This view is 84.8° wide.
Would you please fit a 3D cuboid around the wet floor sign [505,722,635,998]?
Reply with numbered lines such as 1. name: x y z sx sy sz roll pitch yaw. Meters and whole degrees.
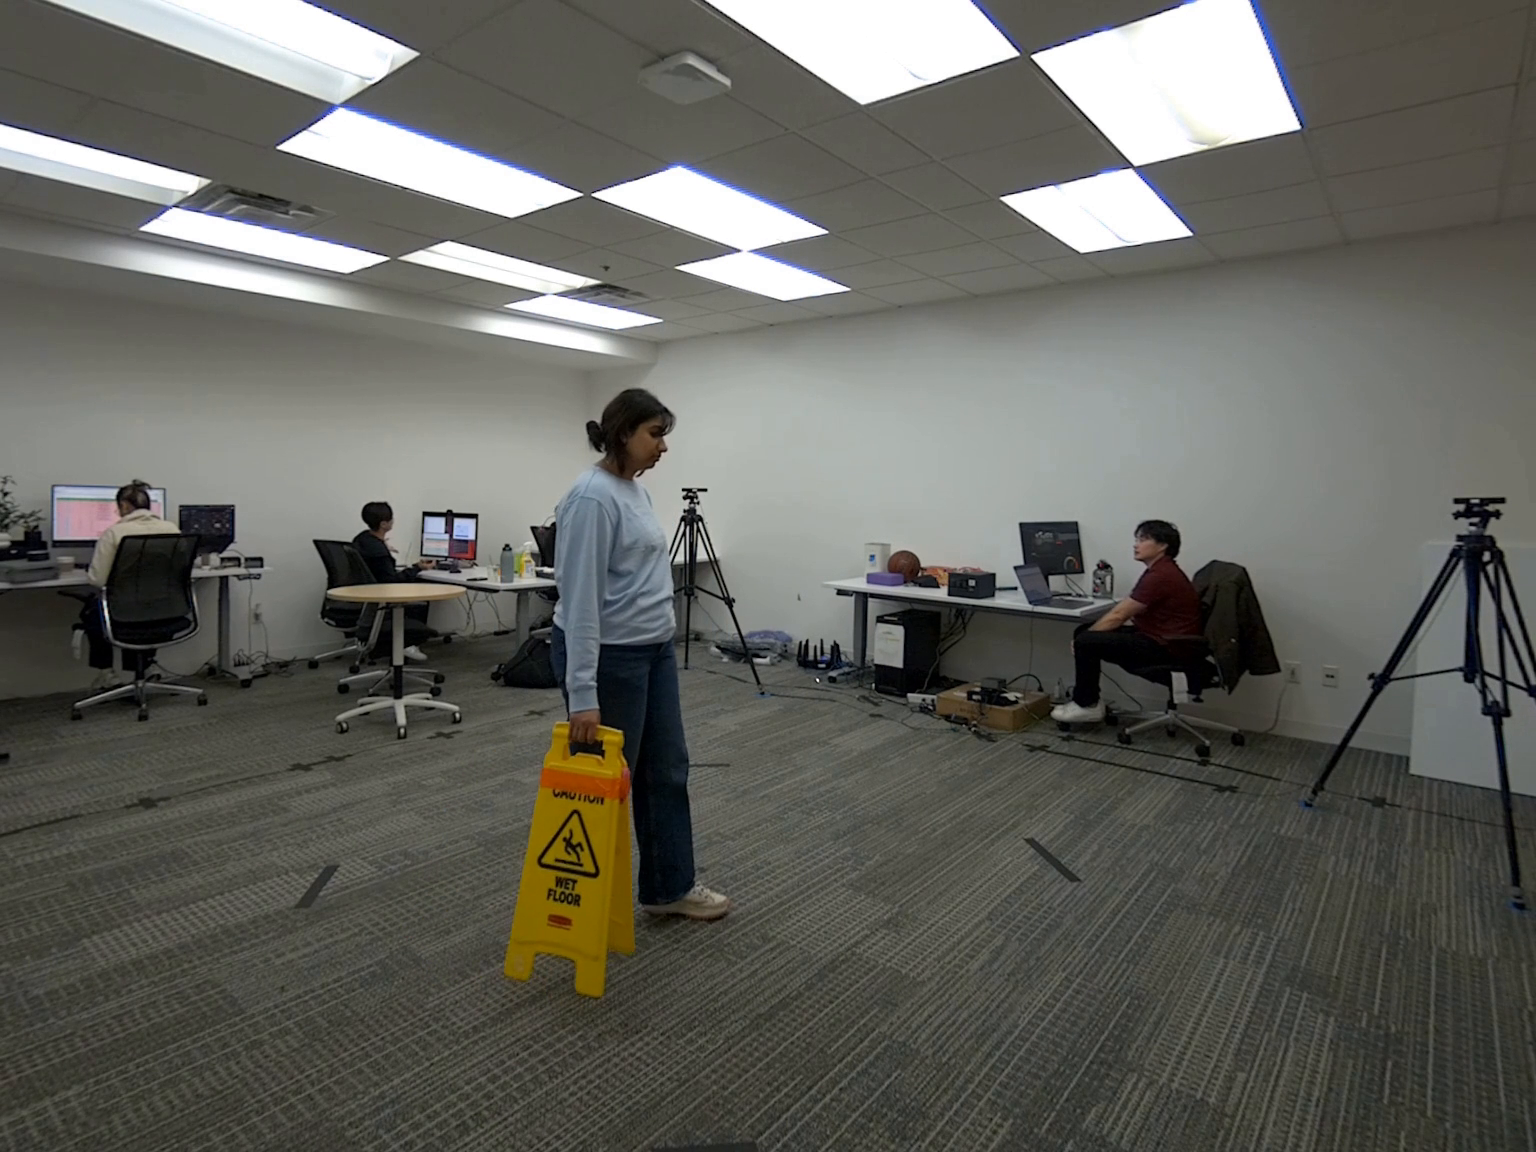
1. wet floor sign: -0.513 0.727 2.311 0.286 0.646 0.285 5 0 12
